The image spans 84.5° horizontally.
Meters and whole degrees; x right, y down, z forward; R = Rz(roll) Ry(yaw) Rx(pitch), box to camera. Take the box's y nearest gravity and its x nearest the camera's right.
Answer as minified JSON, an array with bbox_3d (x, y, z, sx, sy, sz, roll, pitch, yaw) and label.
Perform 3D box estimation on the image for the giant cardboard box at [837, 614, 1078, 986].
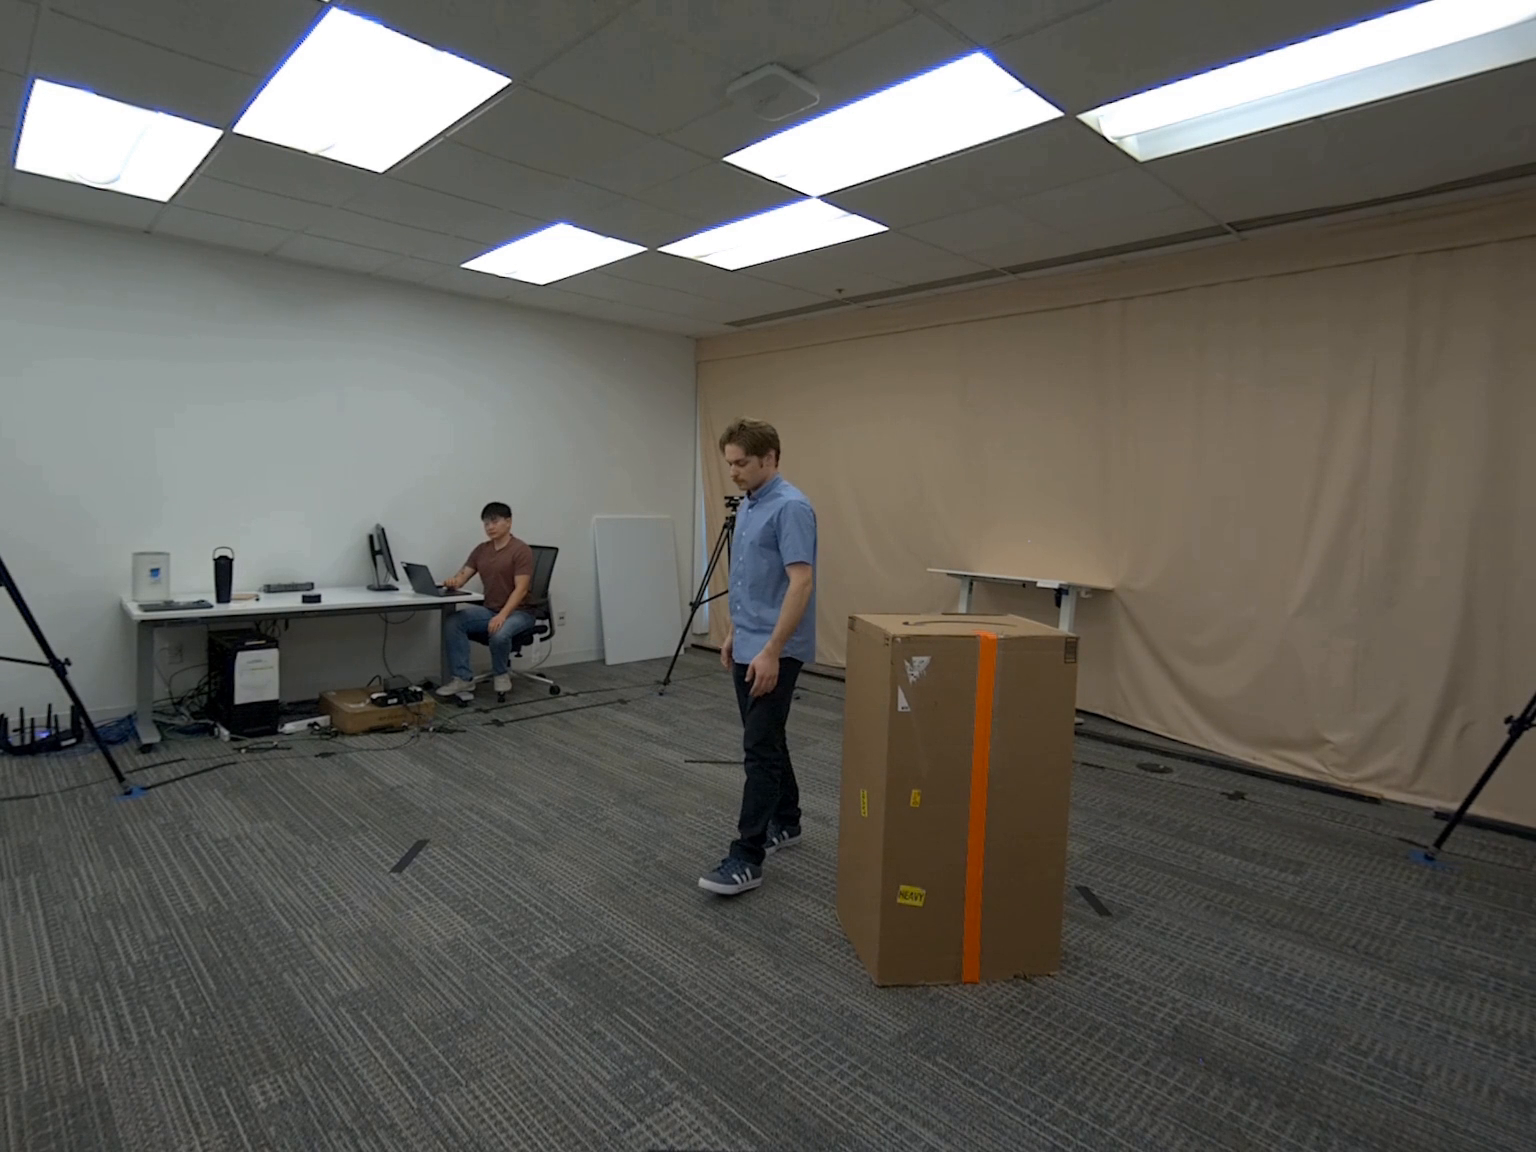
[{"bbox_3d":[0.565,0.658,2.626,0.573,1.023,0.431,1,3,-11],"label":"giant cardboard box"}]
